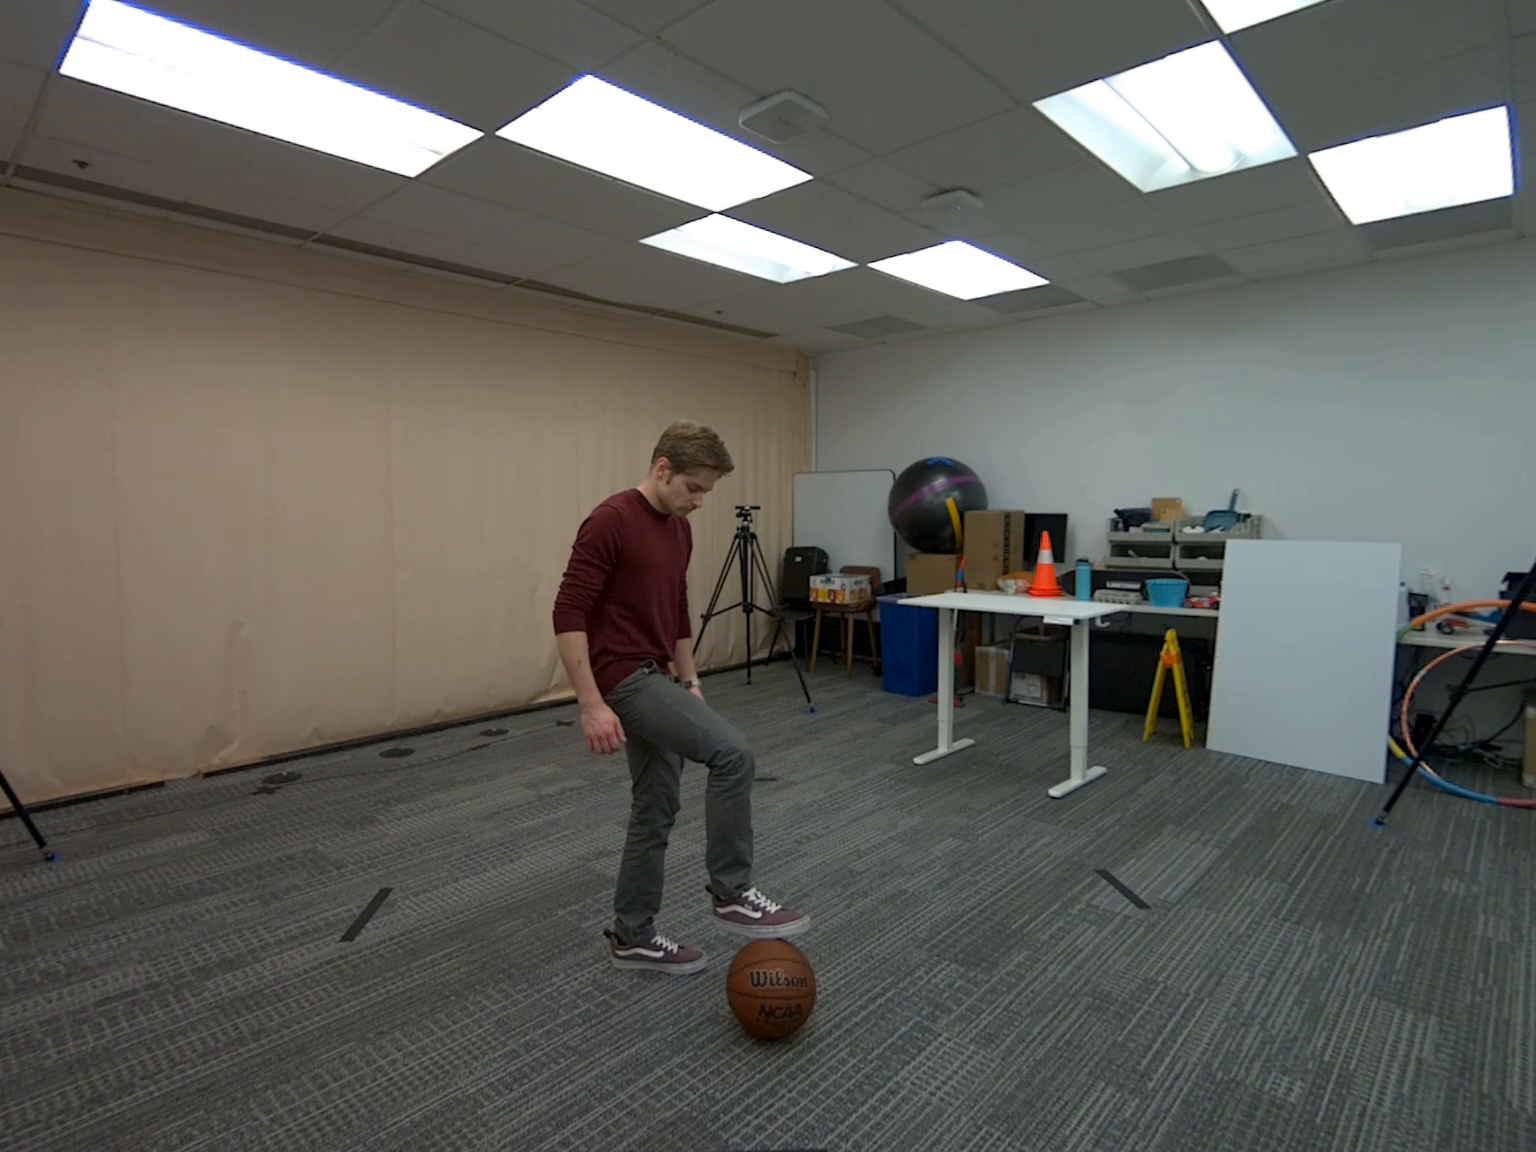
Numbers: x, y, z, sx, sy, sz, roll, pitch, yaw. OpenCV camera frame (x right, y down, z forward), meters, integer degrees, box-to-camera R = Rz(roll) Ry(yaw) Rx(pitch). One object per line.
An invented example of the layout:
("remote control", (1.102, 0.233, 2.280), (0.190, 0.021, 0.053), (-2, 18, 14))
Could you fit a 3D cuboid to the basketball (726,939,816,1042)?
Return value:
("basketball", (0.021, 1.089, 2.223), (0.236, 0.235, 0.237), (0, 4, -2))
